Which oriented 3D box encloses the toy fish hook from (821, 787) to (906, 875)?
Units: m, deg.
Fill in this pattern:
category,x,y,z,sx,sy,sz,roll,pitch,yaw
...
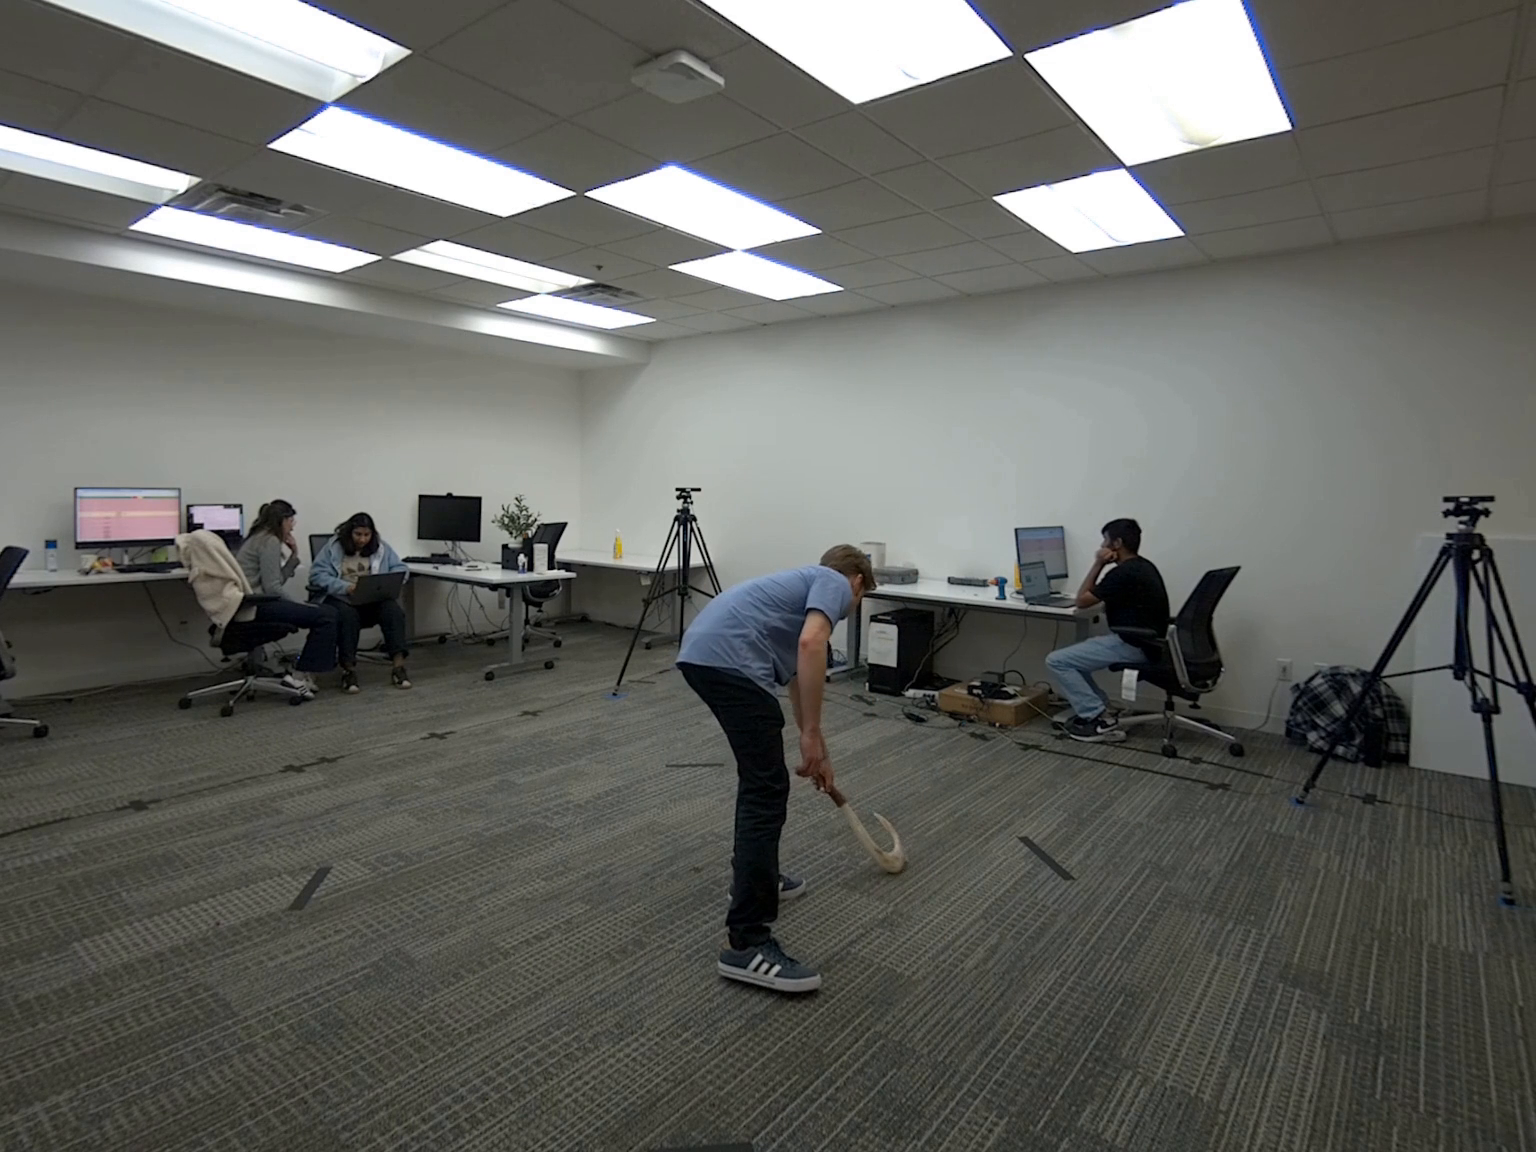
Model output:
category,x,y,z,sx,sy,sz,roll,pitch,yaw
toy fish hook,0.325,0.885,3.211,0.048,0.517,0.220,-47,-15,24
